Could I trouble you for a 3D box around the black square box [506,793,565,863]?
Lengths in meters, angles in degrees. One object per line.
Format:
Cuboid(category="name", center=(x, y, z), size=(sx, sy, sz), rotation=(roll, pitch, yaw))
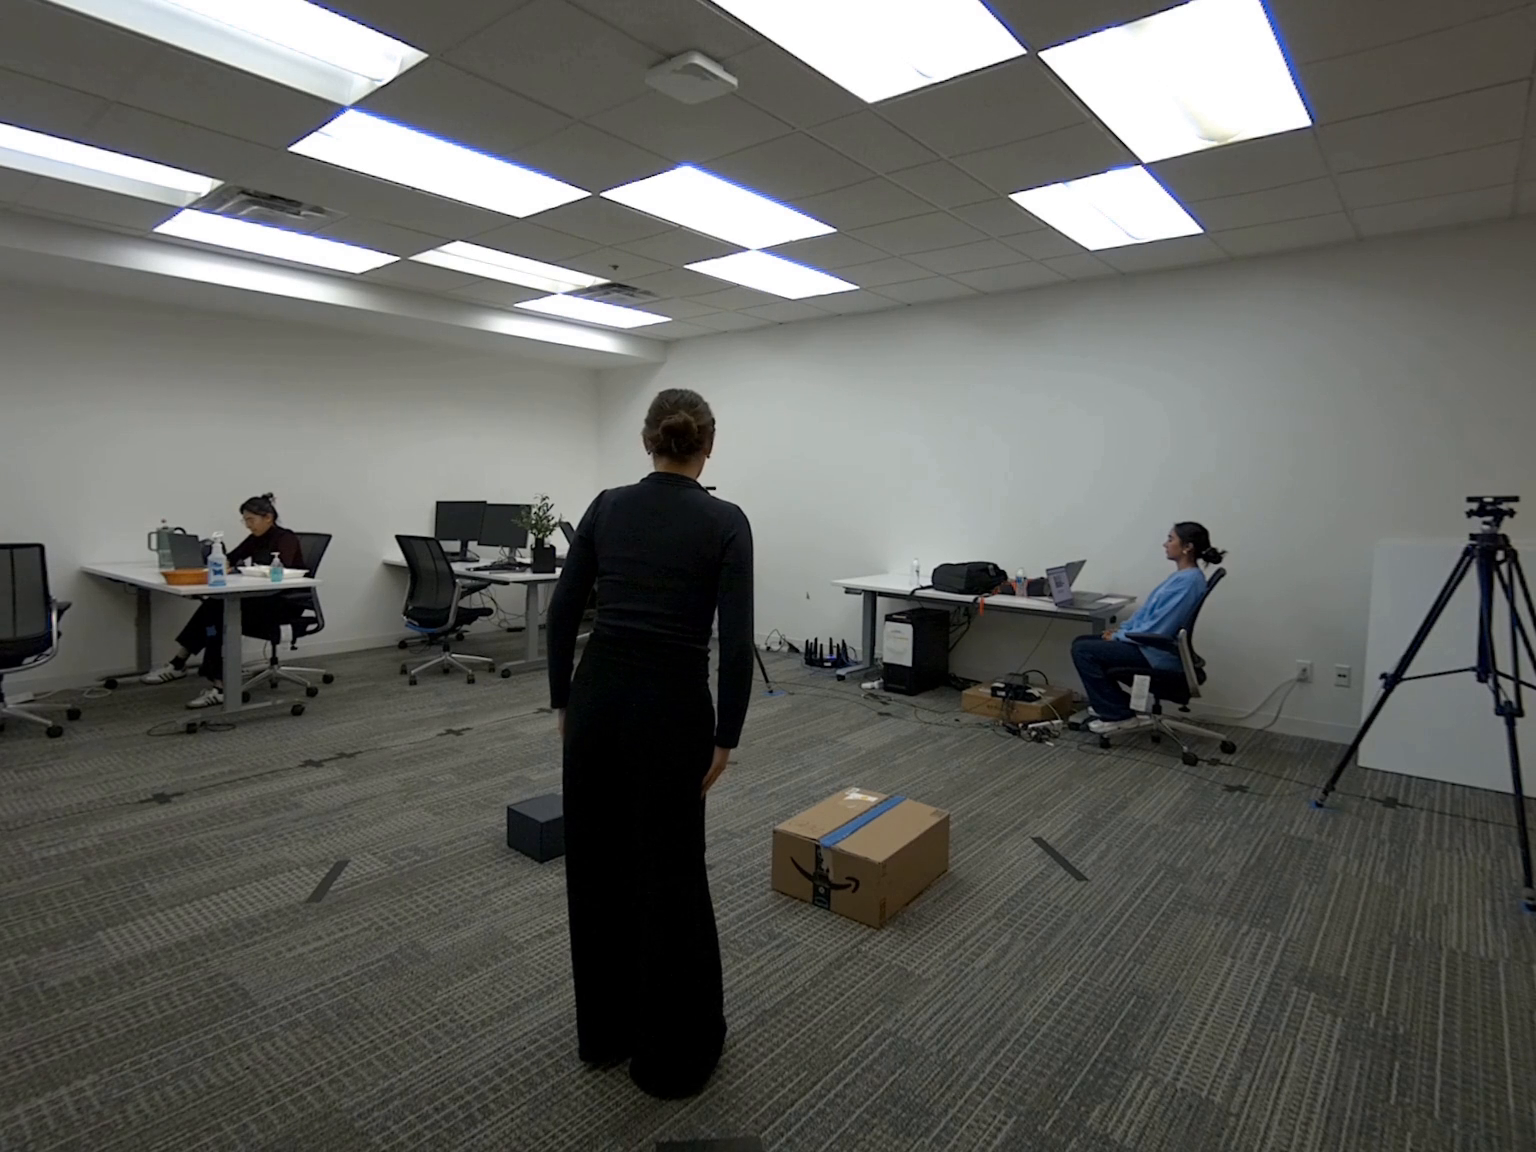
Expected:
Cuboid(category="black square box", center=(-0.858, 0.953, 3.260), size=(0.235, 0.155, 0.210), rotation=(5, 6, 41))
